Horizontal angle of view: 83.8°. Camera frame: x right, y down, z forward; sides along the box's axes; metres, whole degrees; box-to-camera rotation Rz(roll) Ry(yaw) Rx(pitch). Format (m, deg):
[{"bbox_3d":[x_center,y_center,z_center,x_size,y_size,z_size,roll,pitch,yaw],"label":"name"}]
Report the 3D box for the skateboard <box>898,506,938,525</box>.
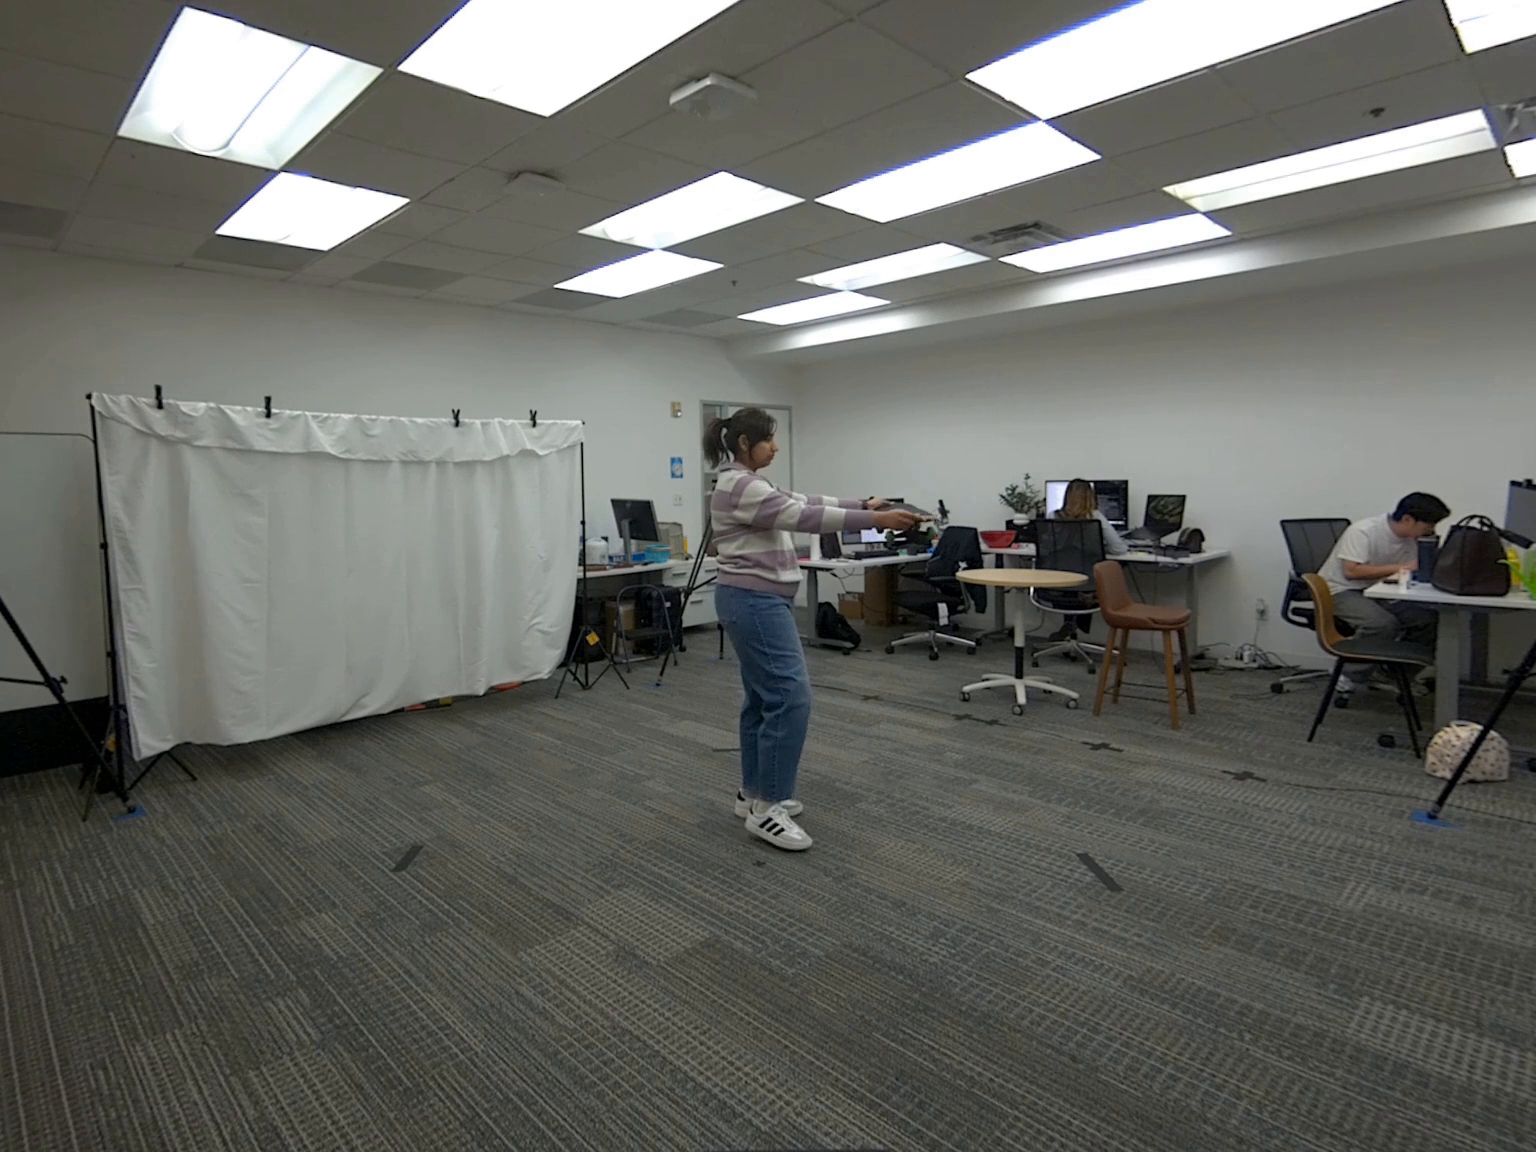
[{"bbox_3d":[0.527,-0.206,3.418,0.194,0.109,0.789,-9,9,2],"label":"skateboard"}]
